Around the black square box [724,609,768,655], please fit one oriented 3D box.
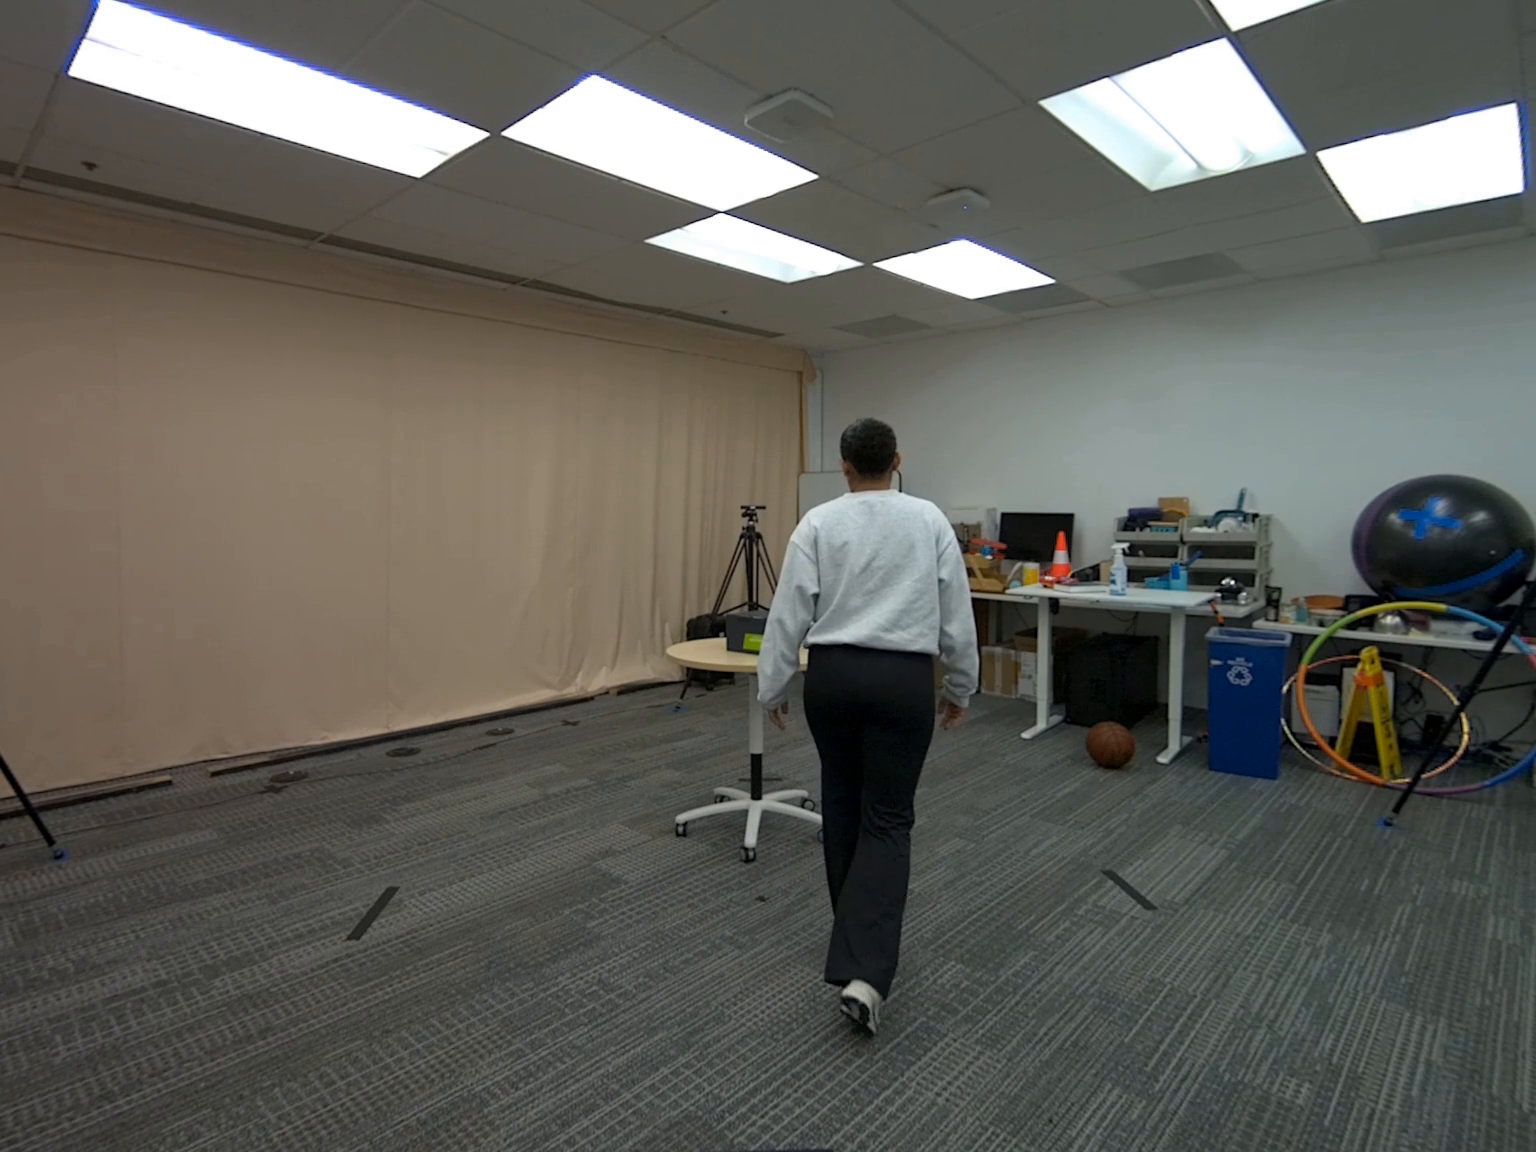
[{"bbox_3d":[-0.026,0.232,3.550,0.235,0.155,0.210,3,7,39],"label":"black square box"}]
